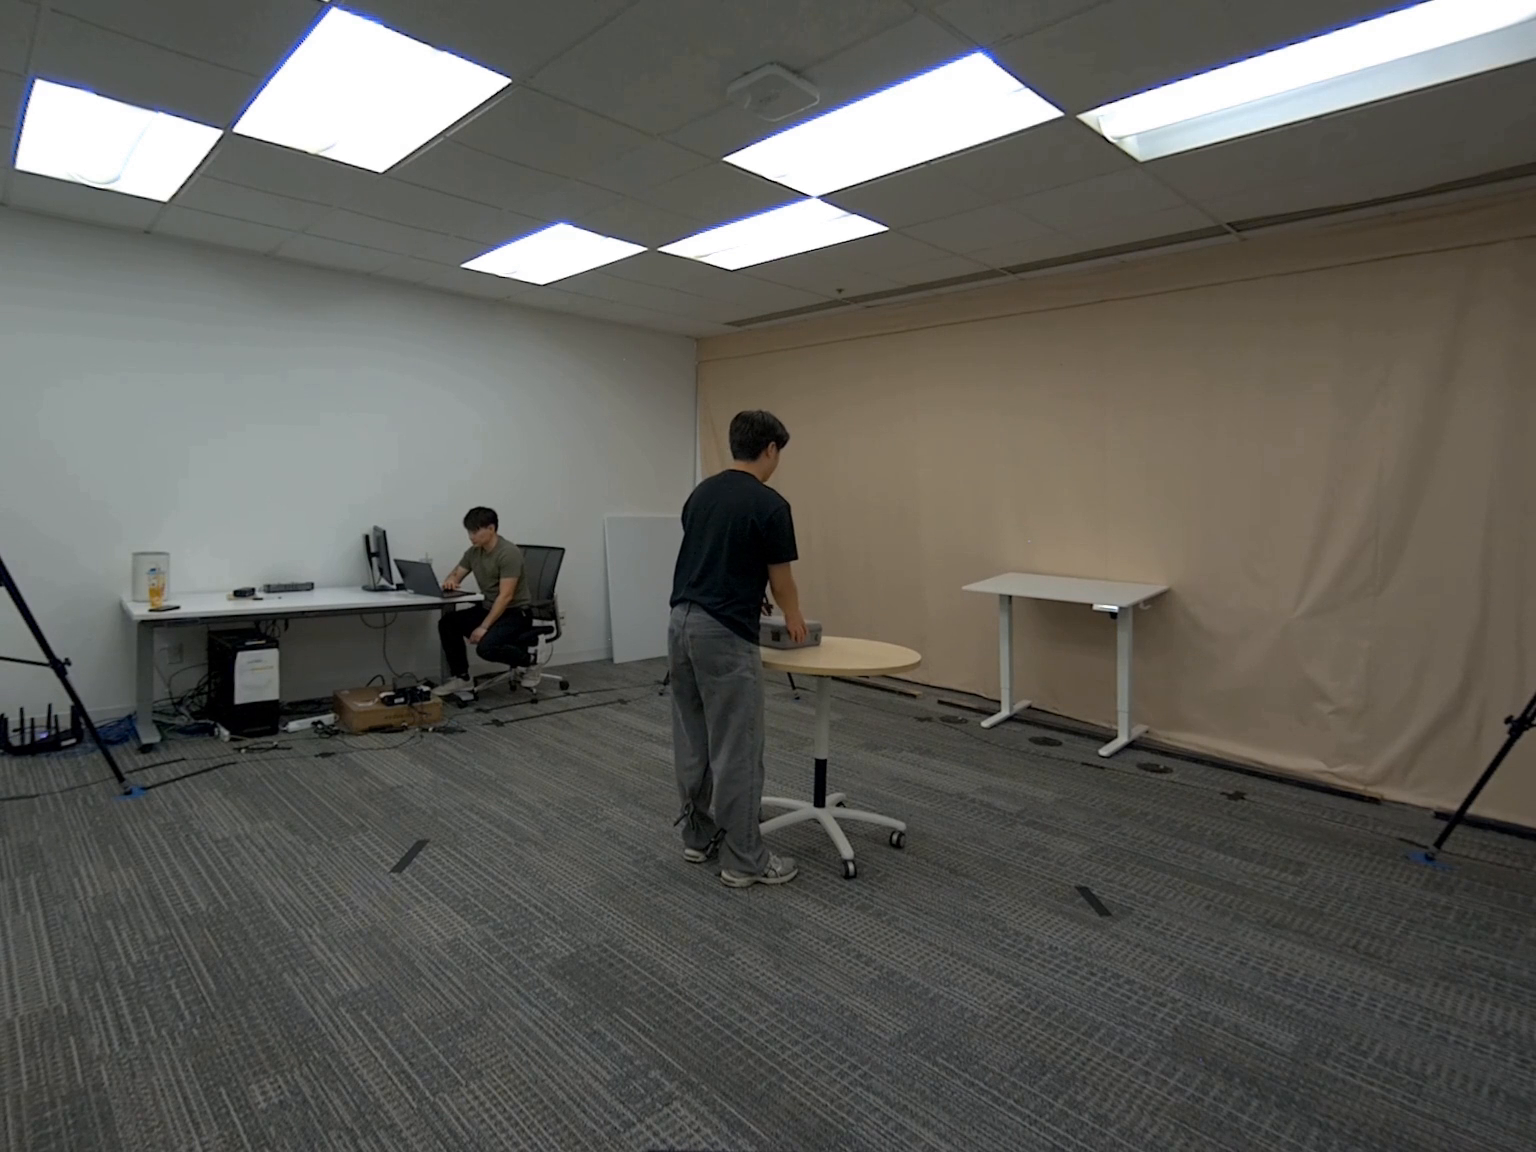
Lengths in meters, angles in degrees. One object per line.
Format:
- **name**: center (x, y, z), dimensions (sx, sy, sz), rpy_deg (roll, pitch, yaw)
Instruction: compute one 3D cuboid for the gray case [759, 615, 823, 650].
- **gray case**: center (0.074, 0.238, 3.558), dimensions (0.280, 0.103, 0.270), rpy_deg (-1, 5, -43)
